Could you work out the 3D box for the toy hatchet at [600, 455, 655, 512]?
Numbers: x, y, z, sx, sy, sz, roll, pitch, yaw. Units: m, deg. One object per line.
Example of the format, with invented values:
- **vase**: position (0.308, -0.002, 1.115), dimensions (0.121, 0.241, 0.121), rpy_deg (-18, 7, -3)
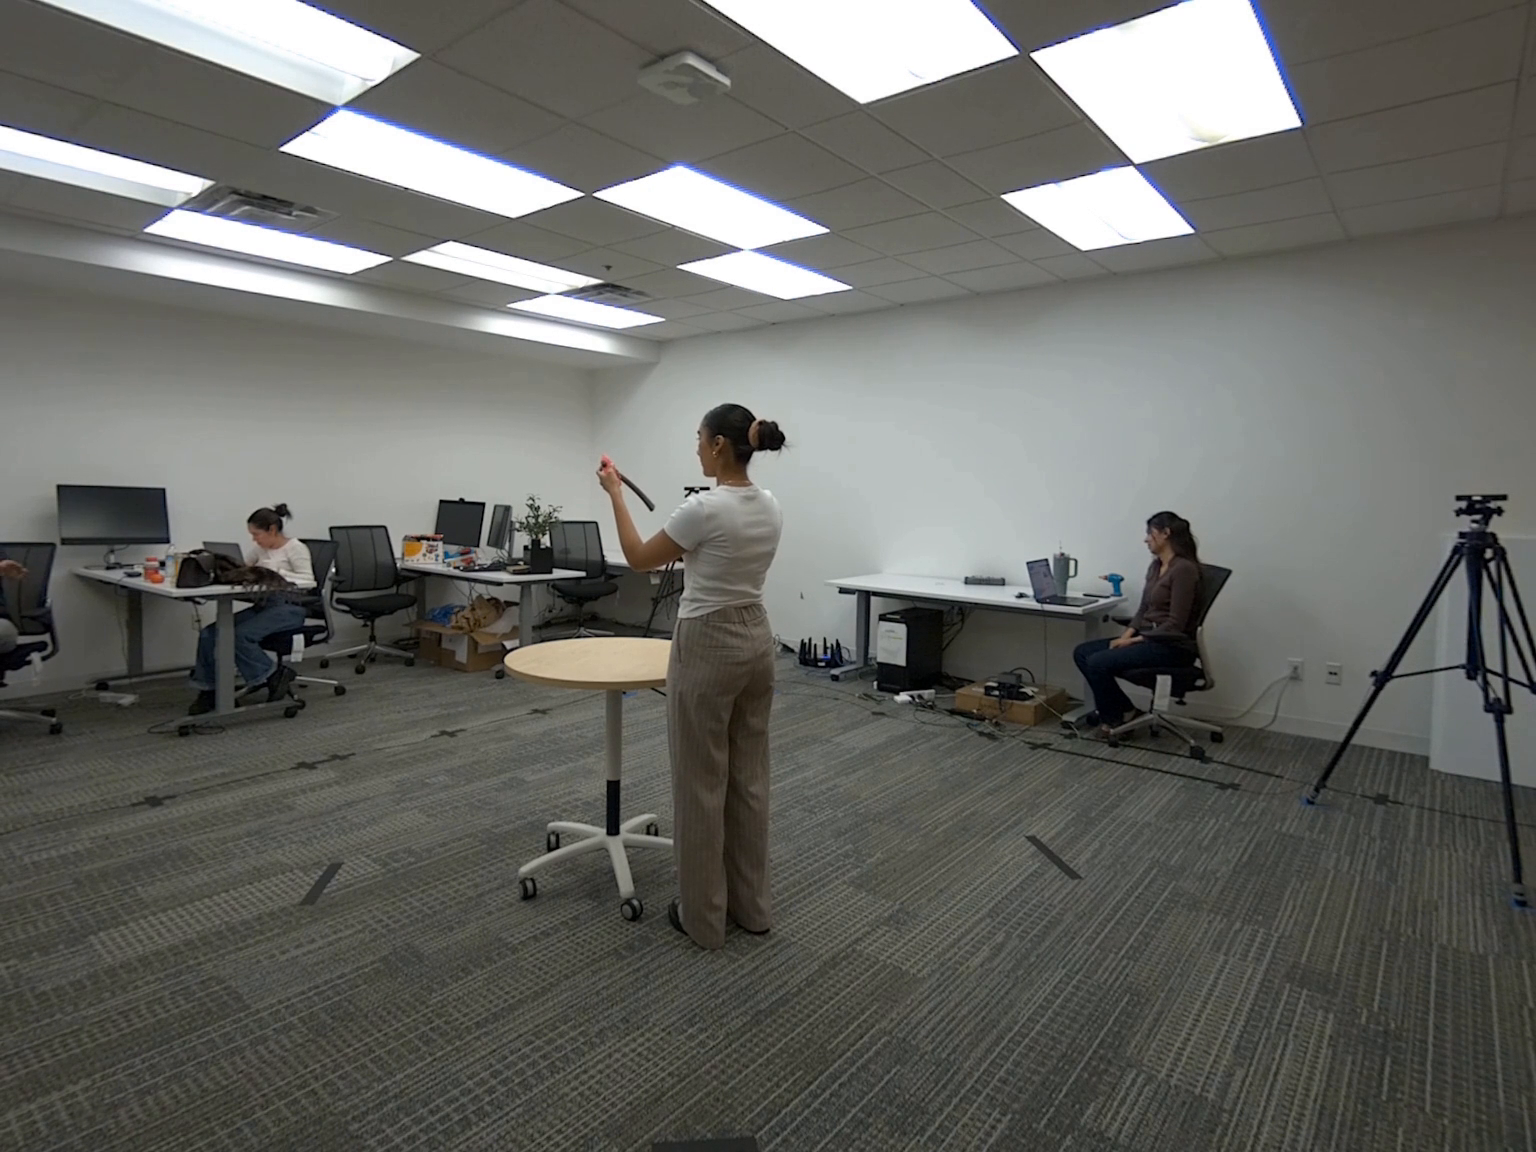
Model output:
- **toy hatchet**: position (-0.480, -0.293, 2.843), dimensions (0.030, 0.261, 0.135), rpy_deg (-33, 29, 15)
